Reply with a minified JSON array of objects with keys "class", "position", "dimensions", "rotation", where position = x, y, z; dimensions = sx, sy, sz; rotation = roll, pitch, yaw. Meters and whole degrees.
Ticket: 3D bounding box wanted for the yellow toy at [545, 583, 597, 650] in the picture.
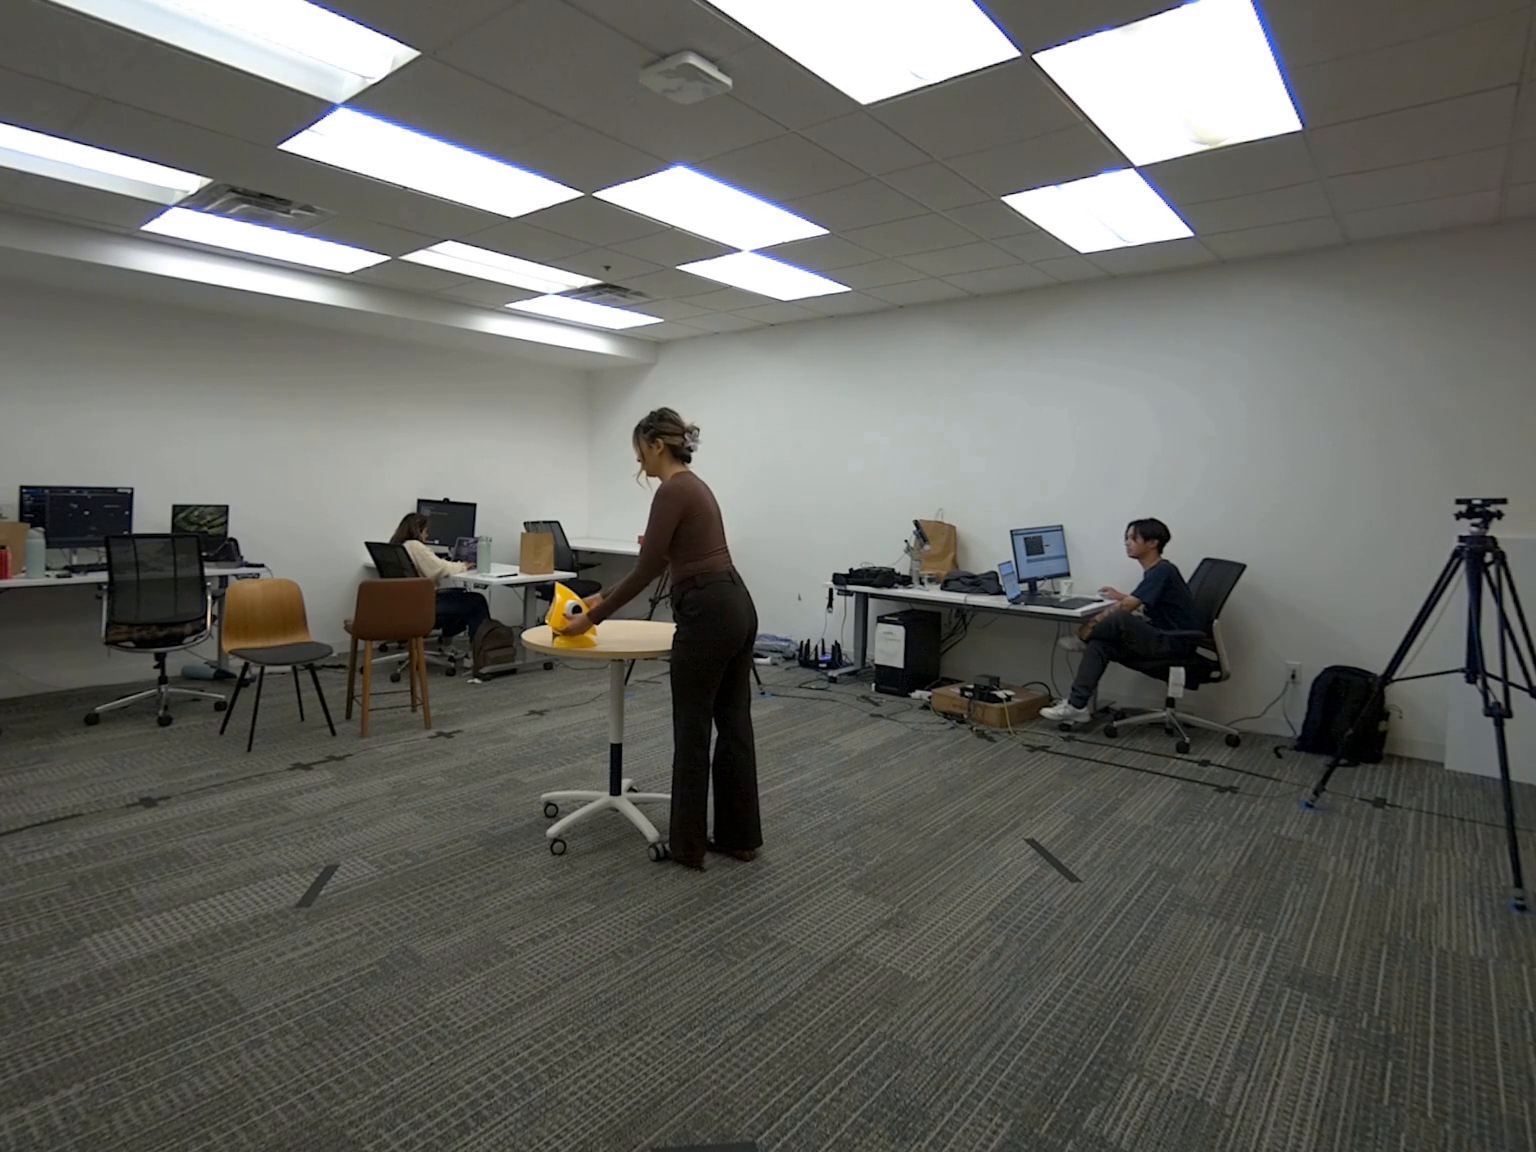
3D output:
[{"class":"yellow toy","position":[-0.755,0.136,3.221],"dimensions":[0.190,0.230,0.209],"rotation":[-1,5,-18]}]
